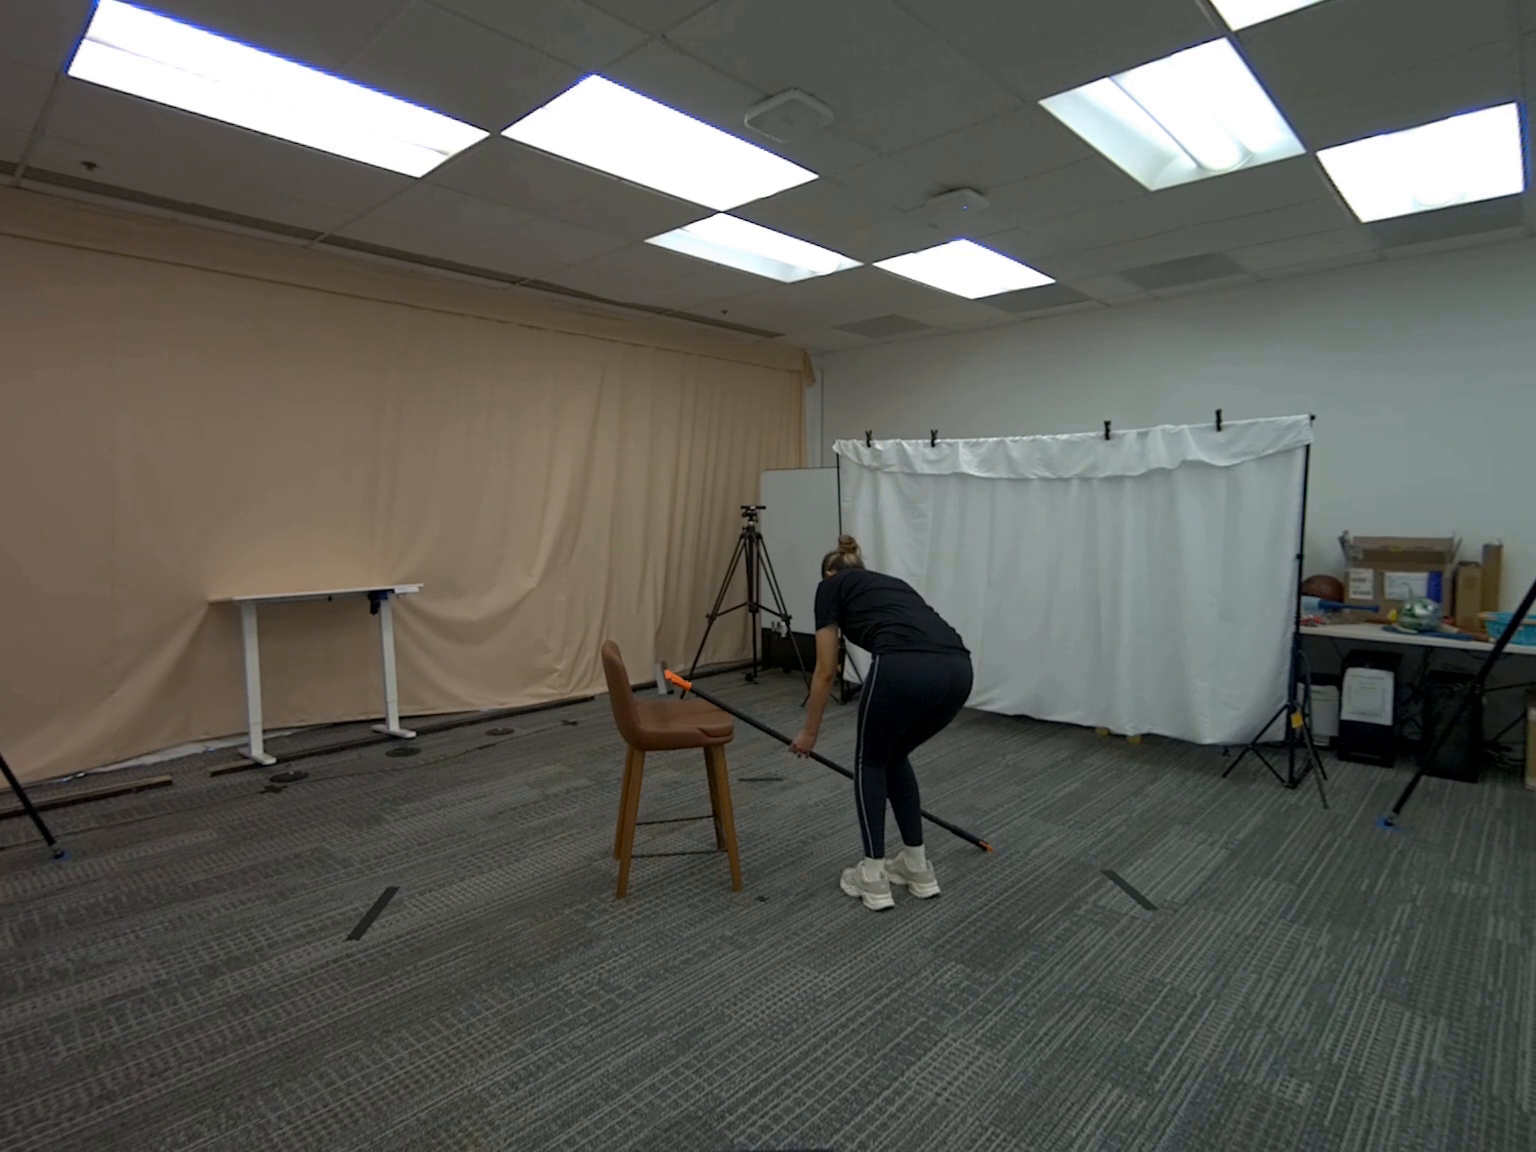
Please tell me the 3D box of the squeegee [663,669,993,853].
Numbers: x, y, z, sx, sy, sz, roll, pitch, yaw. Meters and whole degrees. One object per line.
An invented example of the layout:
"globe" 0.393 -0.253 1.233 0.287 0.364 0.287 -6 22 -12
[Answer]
"squeegee" 0.248 0.737 3.283 1.521 0.437 0.053 28 21 -8
